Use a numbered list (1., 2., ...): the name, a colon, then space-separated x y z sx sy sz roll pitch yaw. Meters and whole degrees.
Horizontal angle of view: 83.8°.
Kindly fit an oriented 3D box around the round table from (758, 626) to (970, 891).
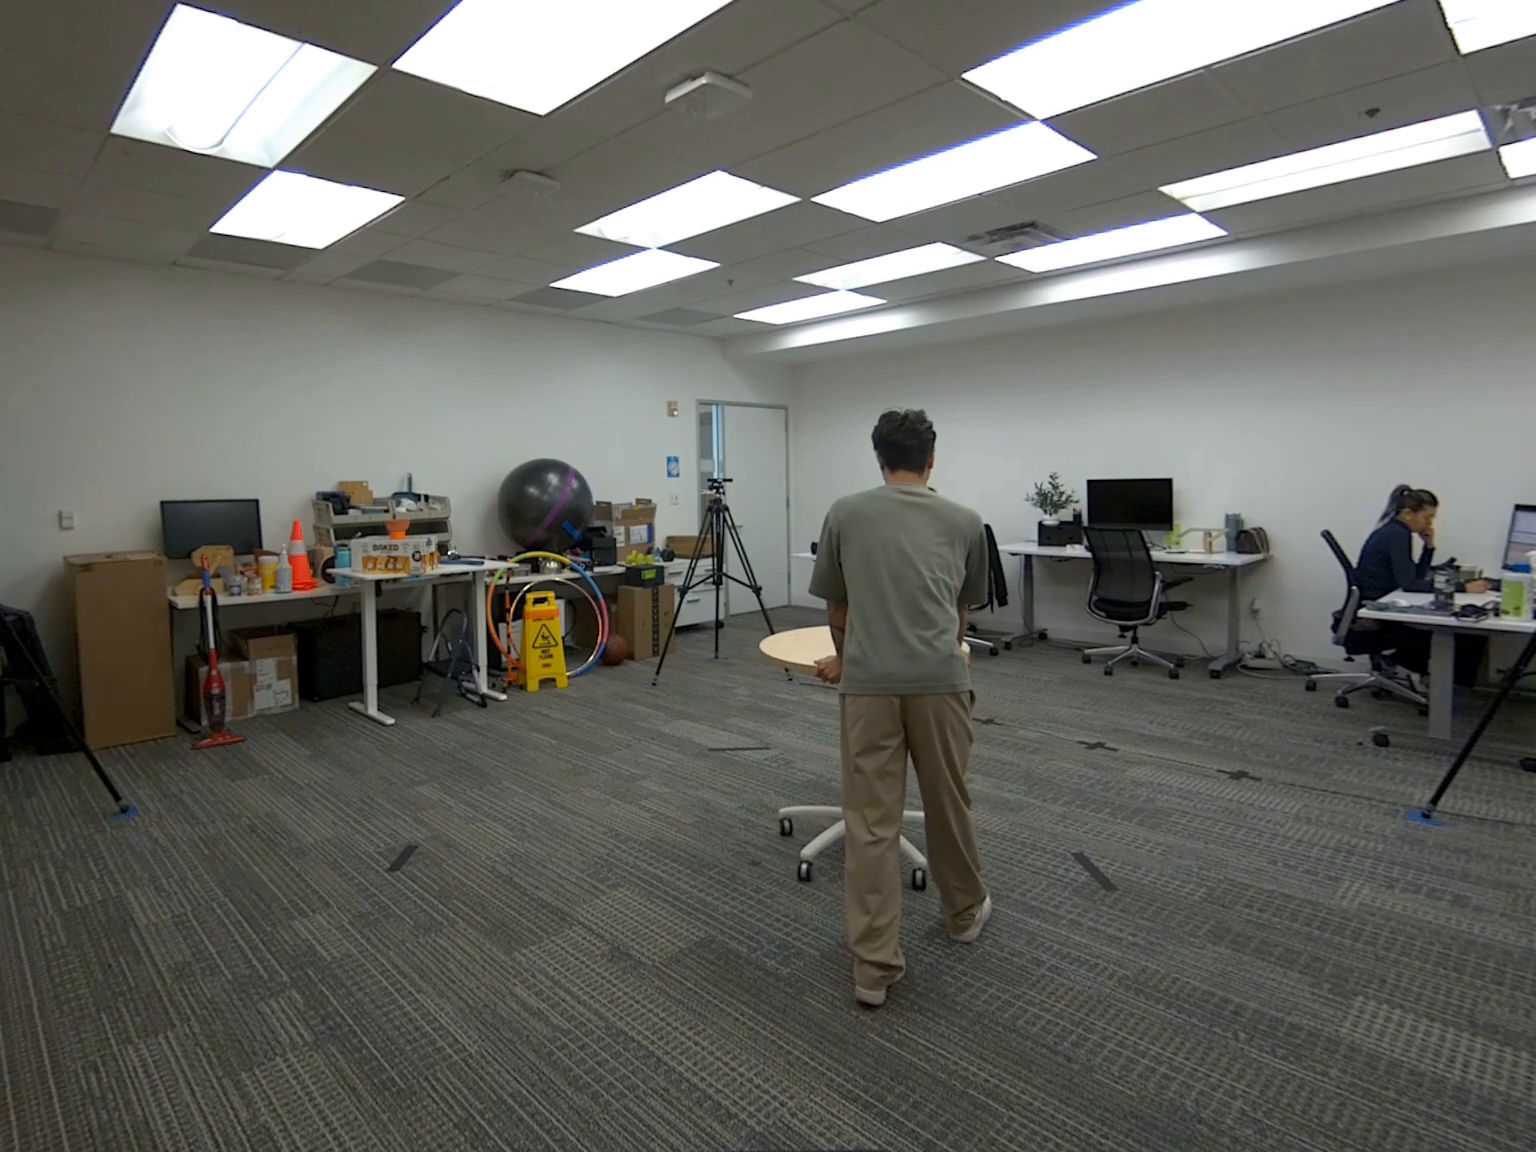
1. round table: 0.367 0.639 3.205 0.784 0.783 0.790 -1 6 -2
